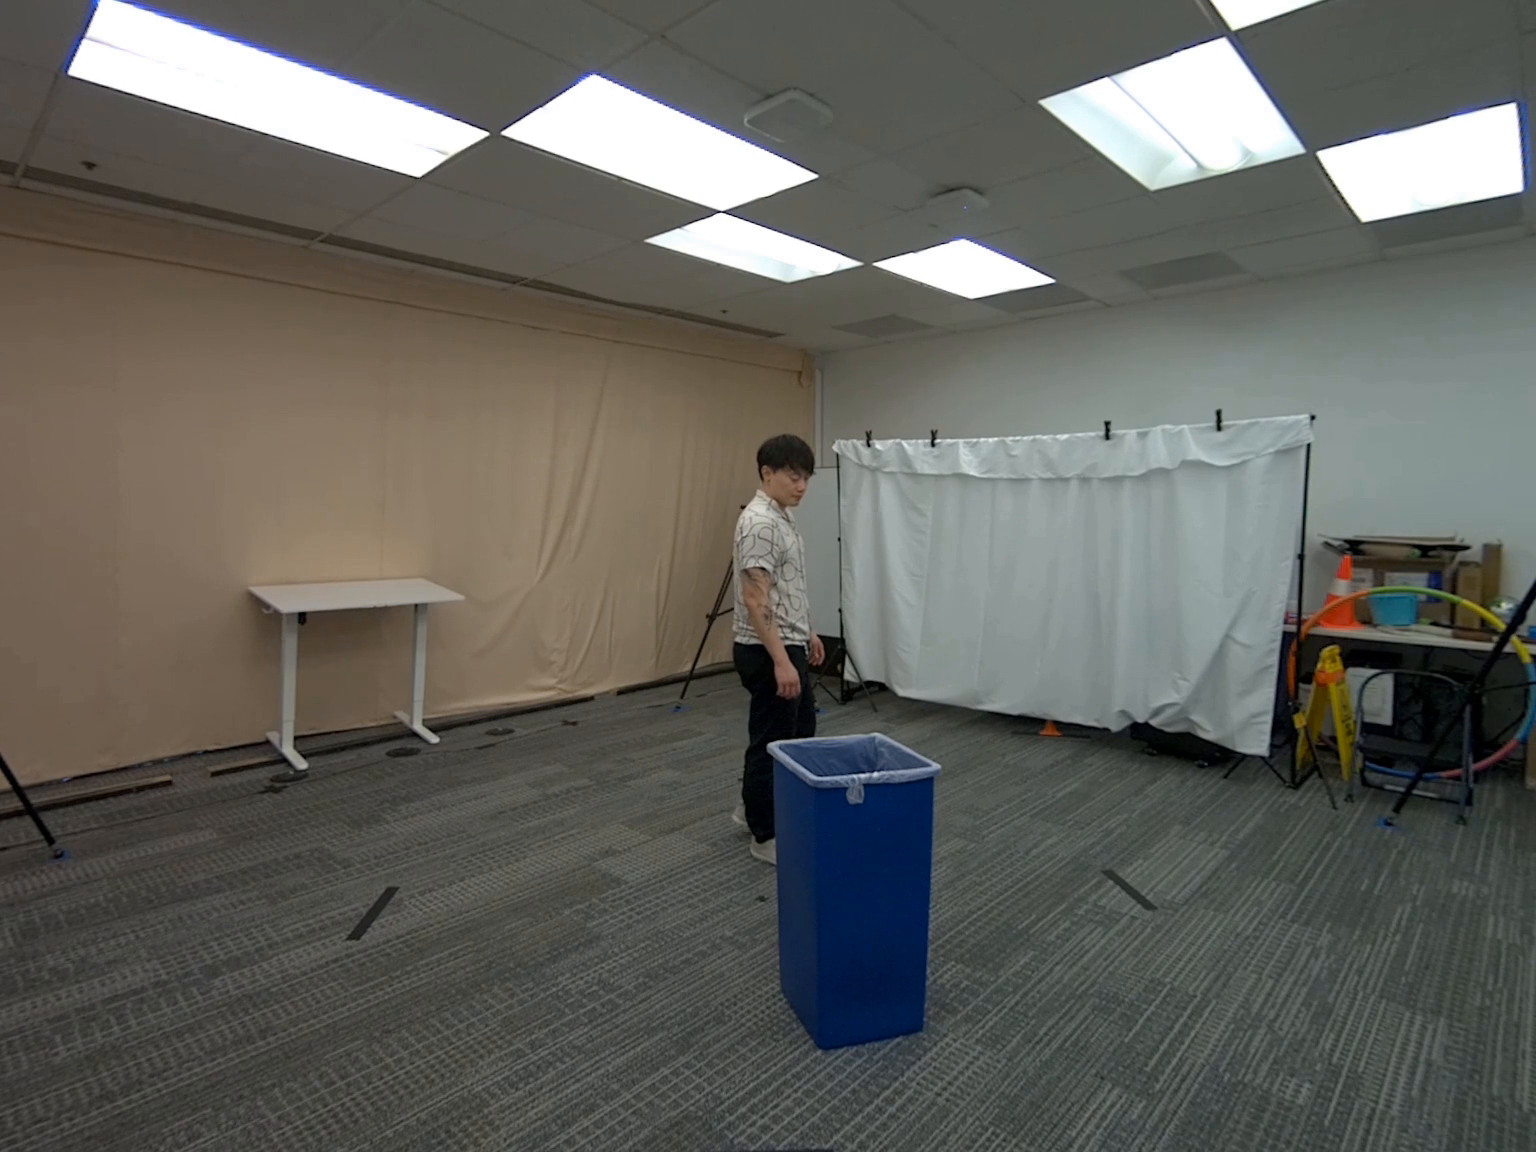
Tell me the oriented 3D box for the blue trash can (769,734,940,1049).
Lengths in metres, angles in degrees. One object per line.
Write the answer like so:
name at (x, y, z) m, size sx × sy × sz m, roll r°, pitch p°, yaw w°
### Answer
blue trash can at (0.225, 0.842, 2.316) m, size 0.371 × 0.712 × 0.382 m, roll -1°, pitch 3°, yaw -19°
